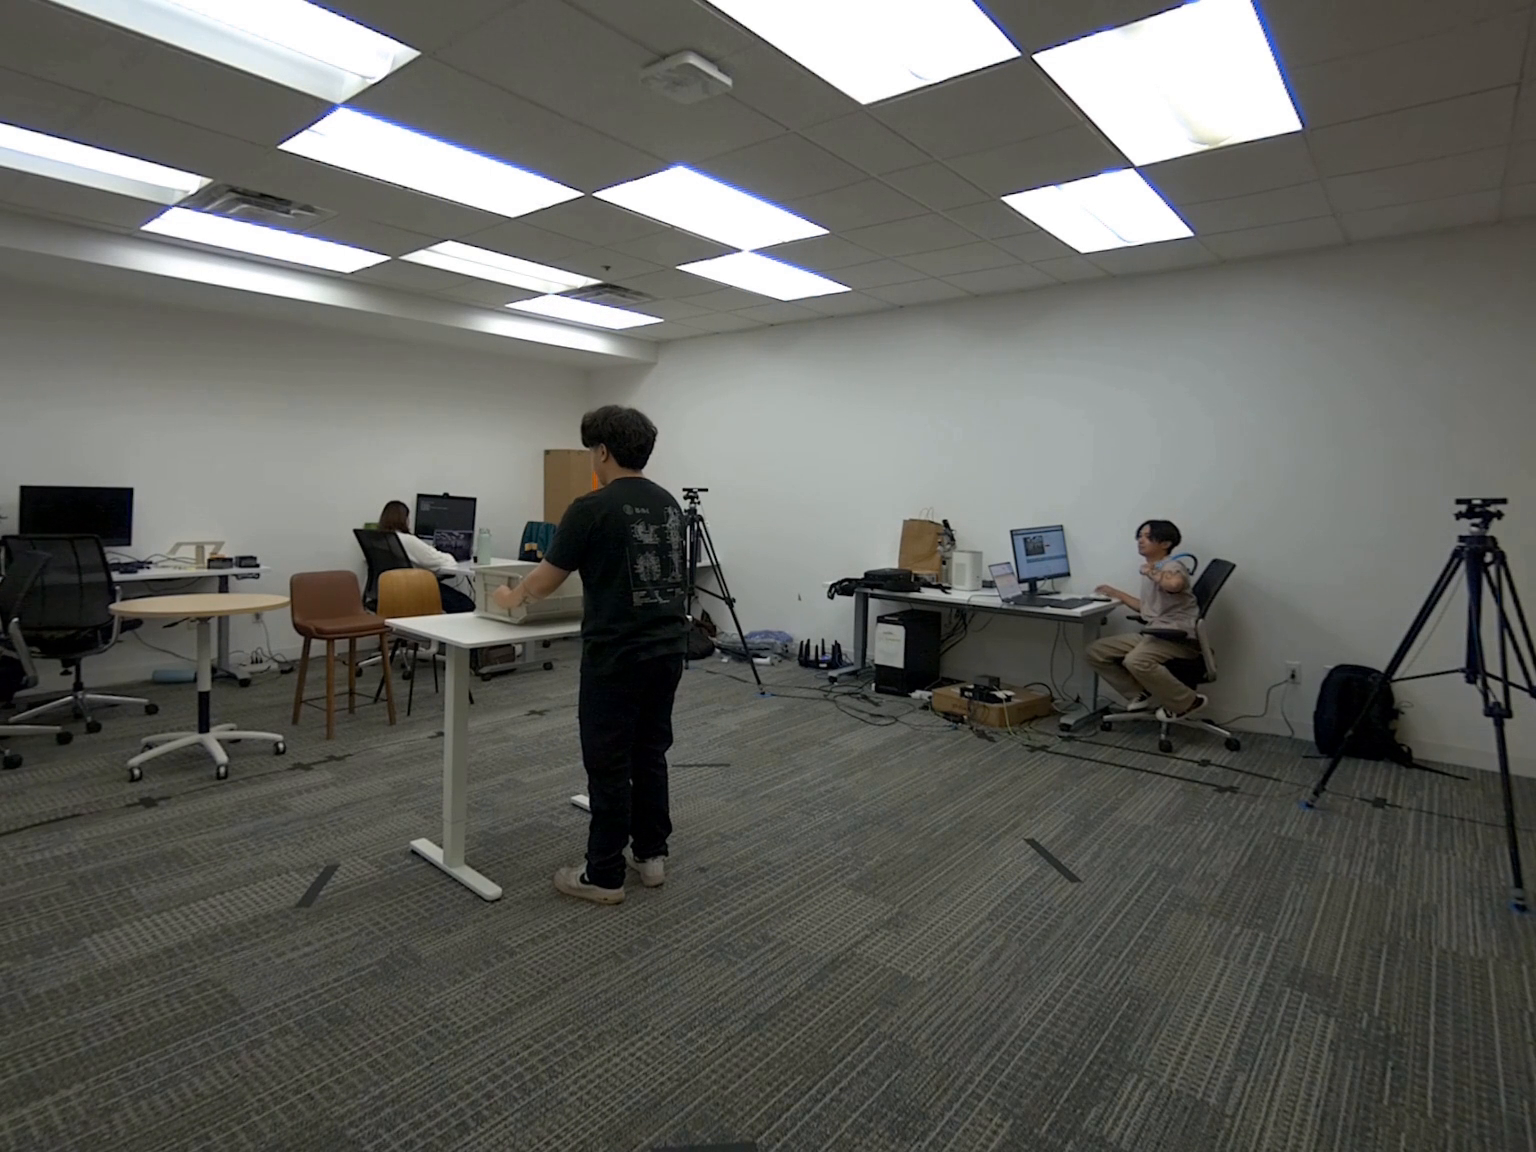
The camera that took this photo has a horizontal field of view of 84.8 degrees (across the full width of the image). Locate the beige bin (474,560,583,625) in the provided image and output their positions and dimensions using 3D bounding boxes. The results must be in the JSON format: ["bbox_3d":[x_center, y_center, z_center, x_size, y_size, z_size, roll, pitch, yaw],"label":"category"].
[{"bbox_3d":[-0.879,0.060,3.289,0.390,0.188,0.410,5,7,44],"label":"beige bin"}]
